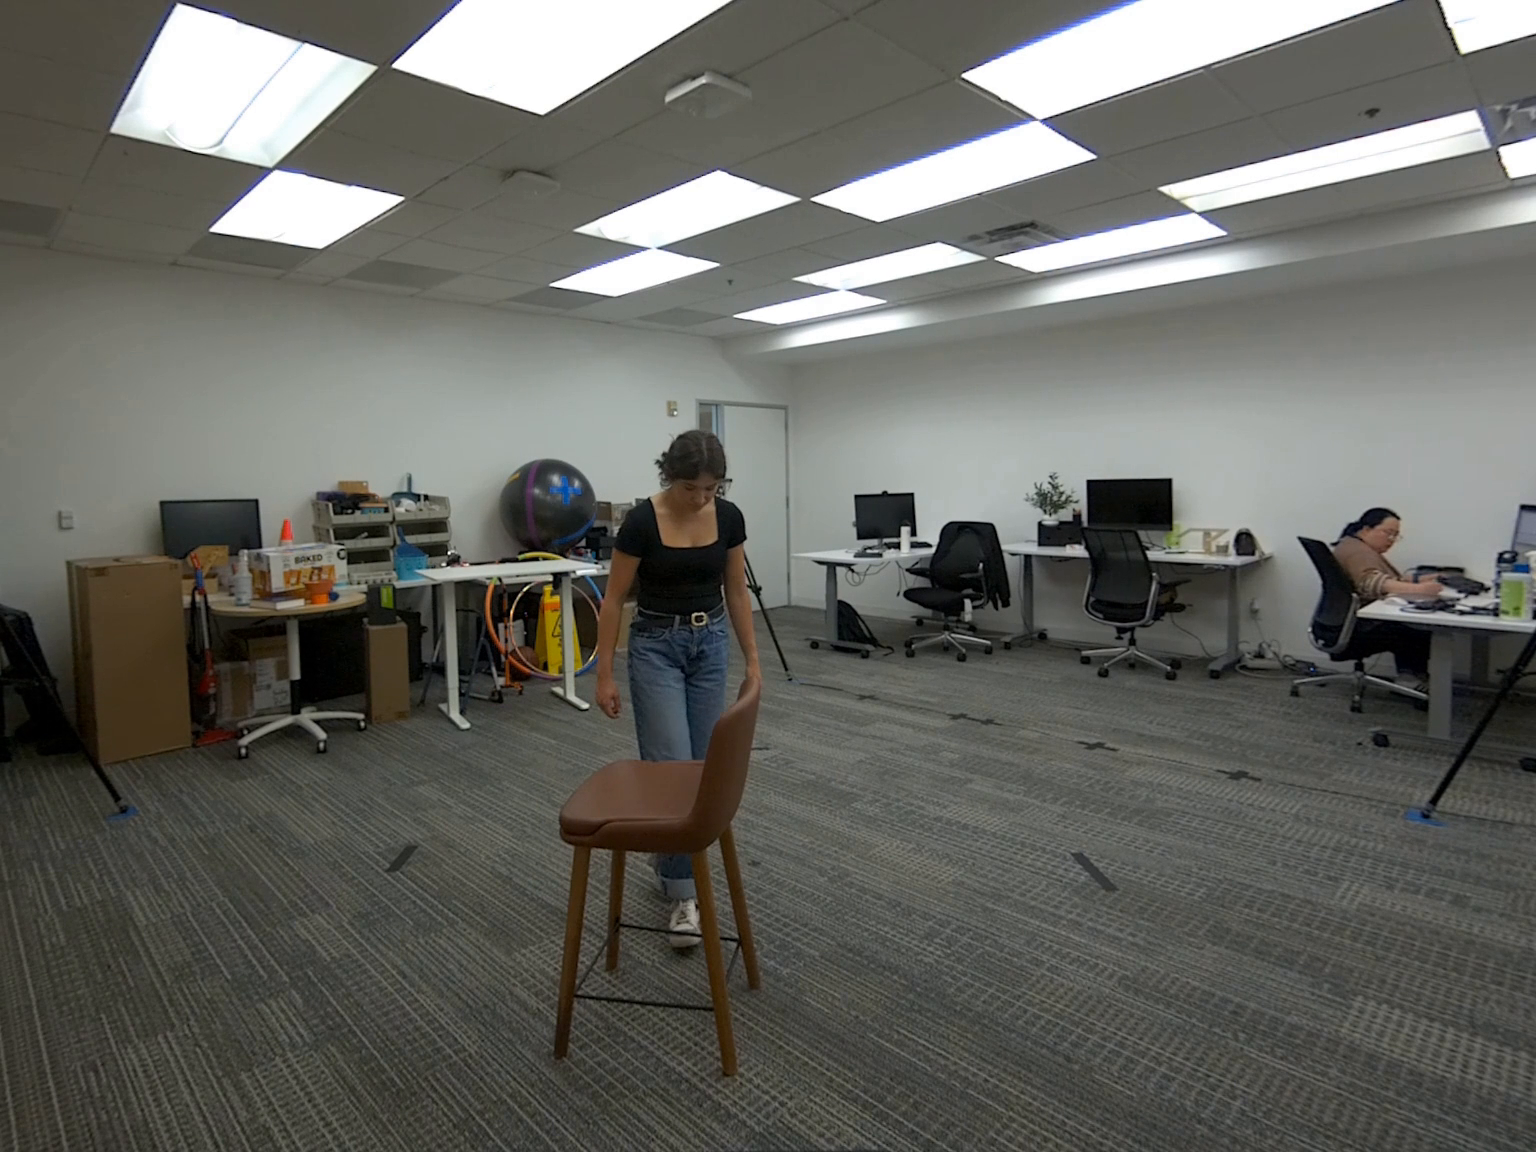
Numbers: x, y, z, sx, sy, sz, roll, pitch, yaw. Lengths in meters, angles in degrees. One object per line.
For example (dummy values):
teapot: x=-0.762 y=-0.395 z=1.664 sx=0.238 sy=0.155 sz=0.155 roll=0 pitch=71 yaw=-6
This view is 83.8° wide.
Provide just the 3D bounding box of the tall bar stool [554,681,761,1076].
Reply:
tall bar stool: x=-0.274 y=0.724 z=2.199 sx=0.473 sy=0.886 sz=0.453 roll=1 pitch=5 yaw=11
